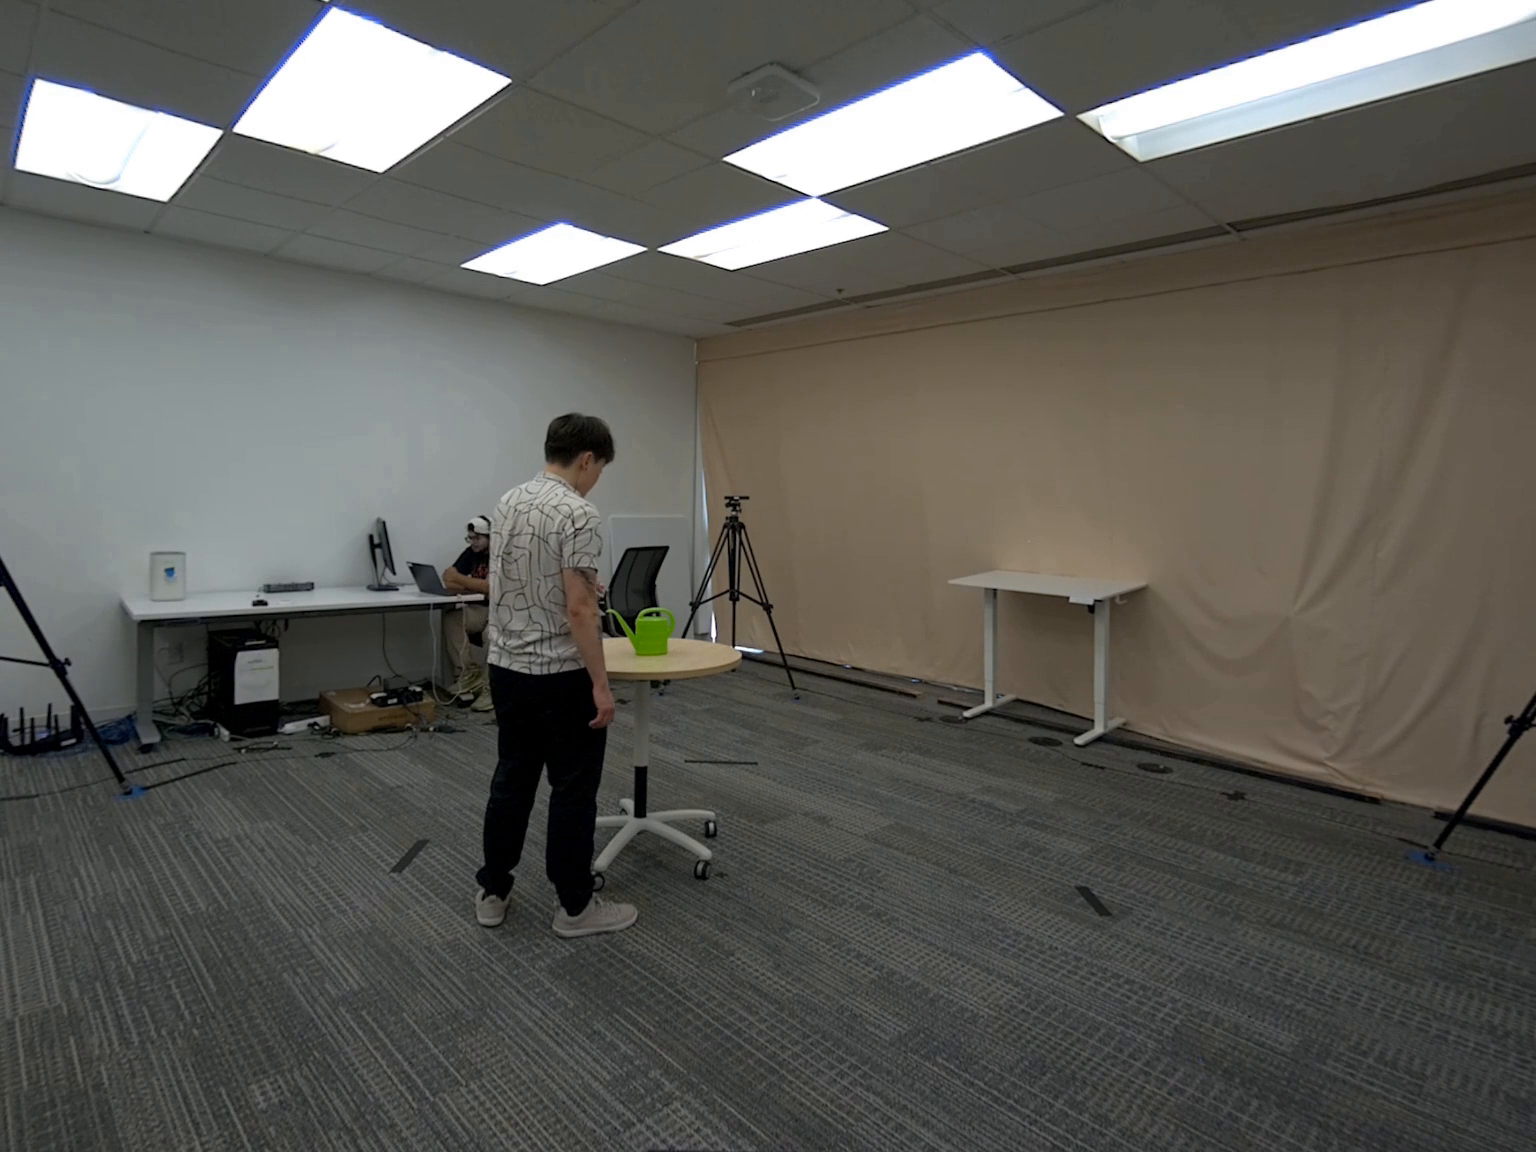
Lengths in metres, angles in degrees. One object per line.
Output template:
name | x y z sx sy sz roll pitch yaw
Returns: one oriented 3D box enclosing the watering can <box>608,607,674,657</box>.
watering can | -0.496 0.209 3.231 0.275 0.176 0.099 2 3 -11
